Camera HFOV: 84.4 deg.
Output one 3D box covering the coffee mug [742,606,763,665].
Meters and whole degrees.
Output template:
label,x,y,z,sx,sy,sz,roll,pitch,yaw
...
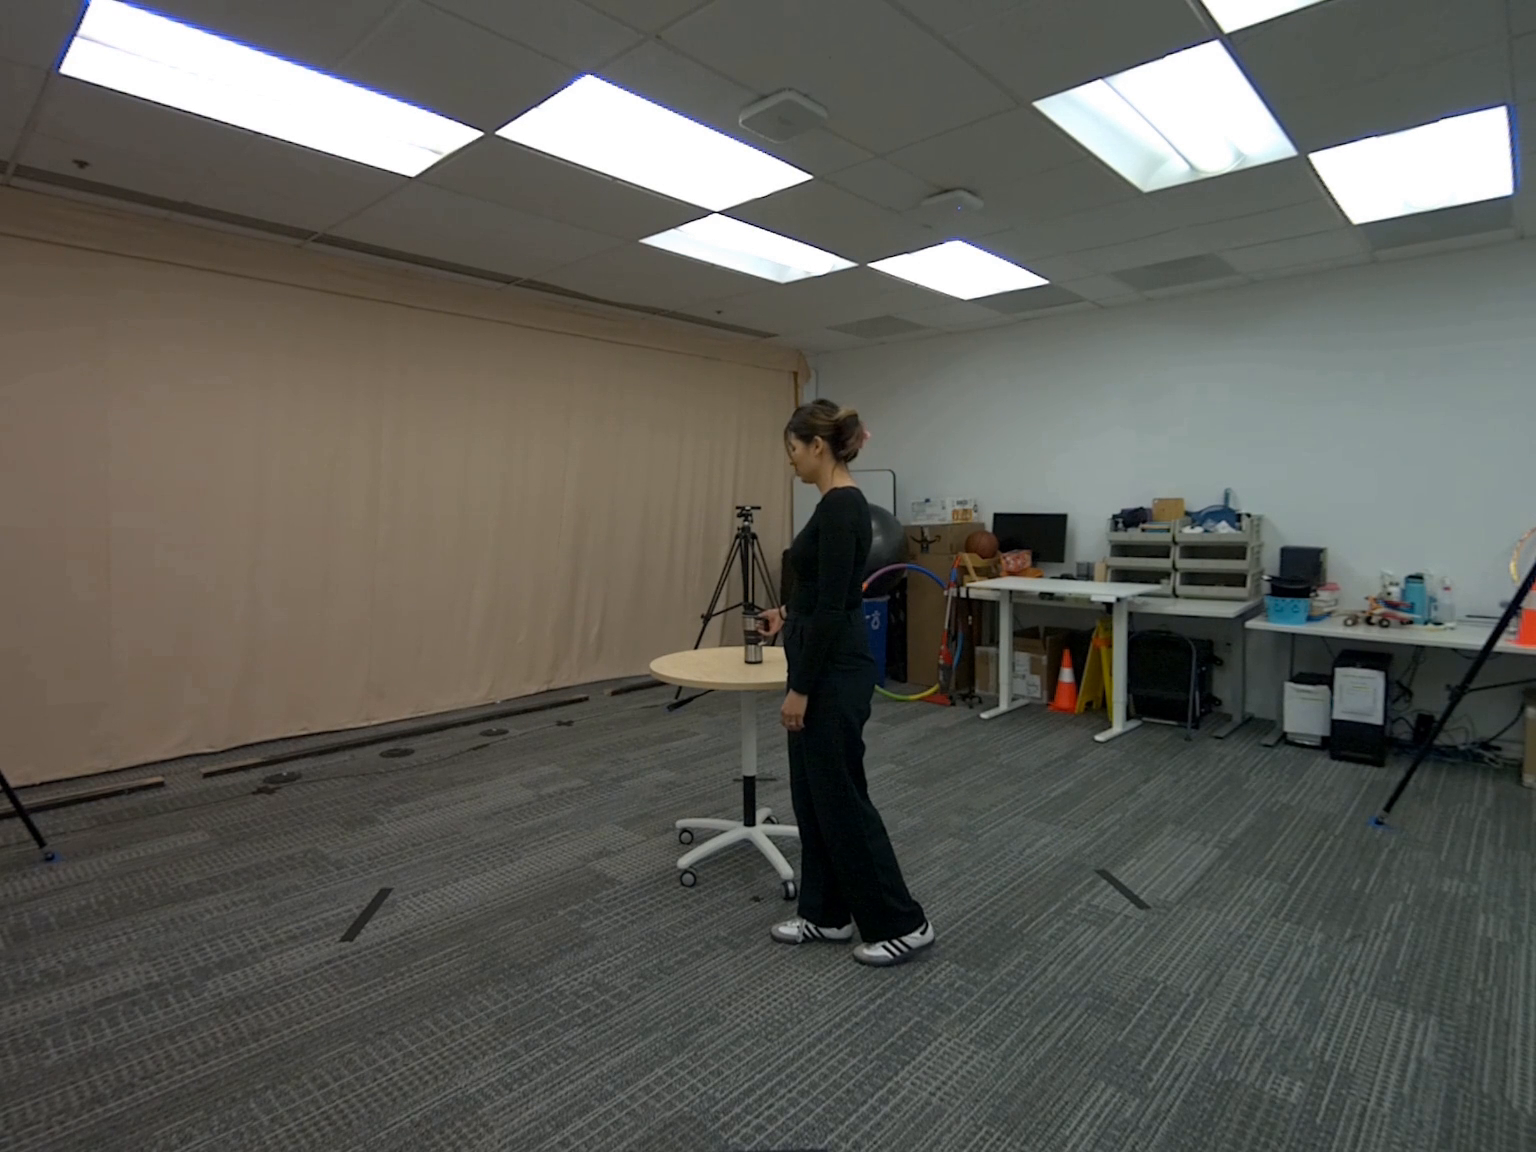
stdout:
label,x,y,z,sx,sy,sz,roll,pitch,yaw
coffee mug,-0.066,0.240,3.253,0.091,0.203,0.118,6,3,35
